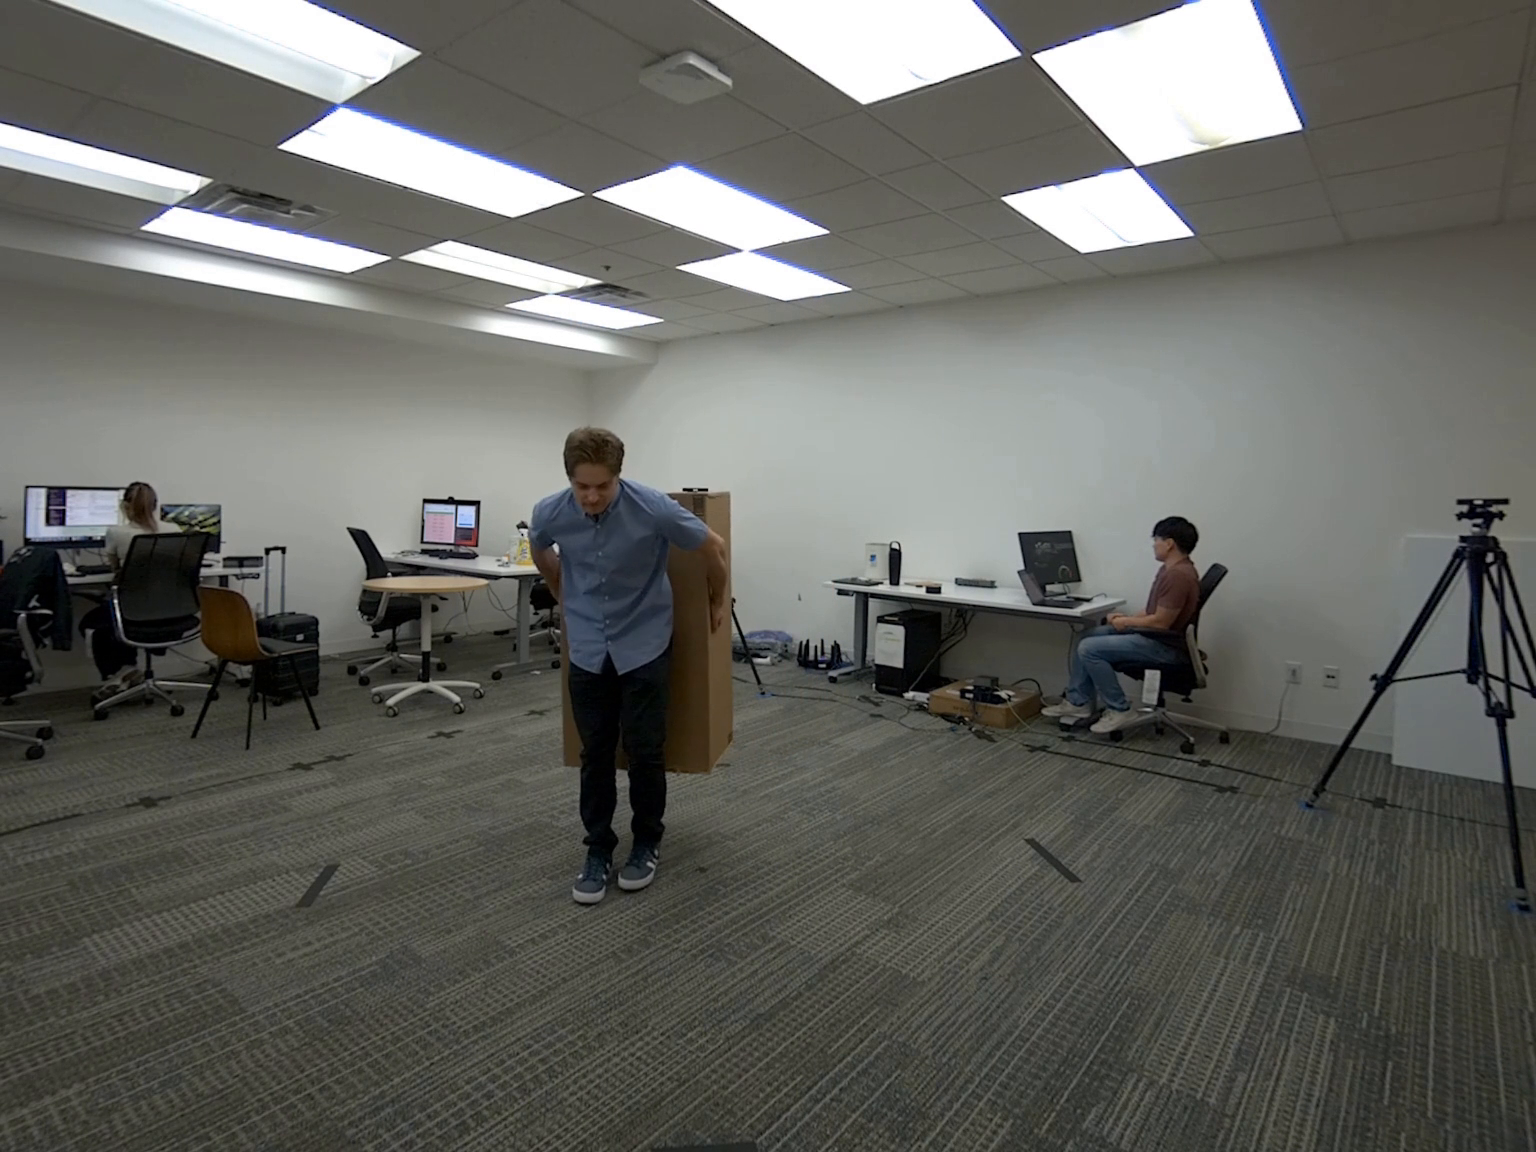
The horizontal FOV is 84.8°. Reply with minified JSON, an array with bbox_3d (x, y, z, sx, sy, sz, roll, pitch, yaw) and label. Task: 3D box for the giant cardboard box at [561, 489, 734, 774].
[{"bbox_3d":[-0.463,0.190,3.308,0.591,1.025,0.442,-1,2,11],"label":"giant cardboard box"}]
